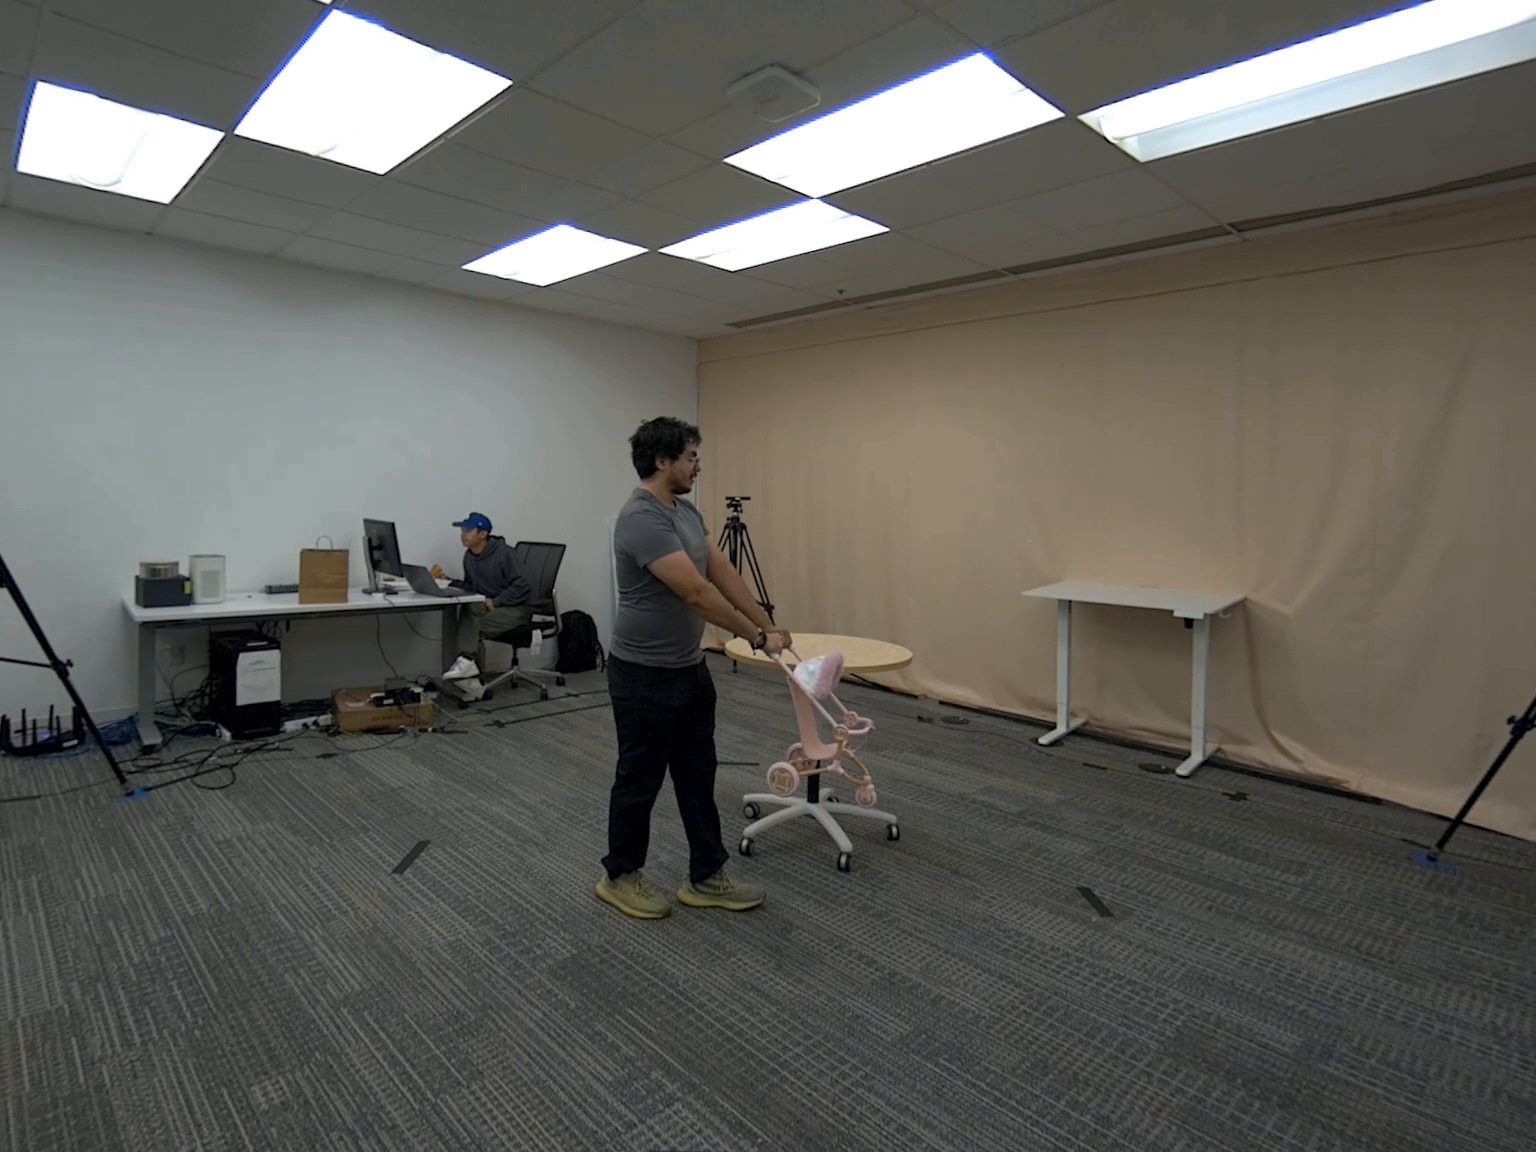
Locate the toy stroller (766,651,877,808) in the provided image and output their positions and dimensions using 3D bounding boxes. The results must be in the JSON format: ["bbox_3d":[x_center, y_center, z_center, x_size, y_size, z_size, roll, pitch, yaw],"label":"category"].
[{"bbox_3d":[0.177,0.473,2.704,0.347,0.535,0.277,-2,0,22],"label":"toy stroller"}]
